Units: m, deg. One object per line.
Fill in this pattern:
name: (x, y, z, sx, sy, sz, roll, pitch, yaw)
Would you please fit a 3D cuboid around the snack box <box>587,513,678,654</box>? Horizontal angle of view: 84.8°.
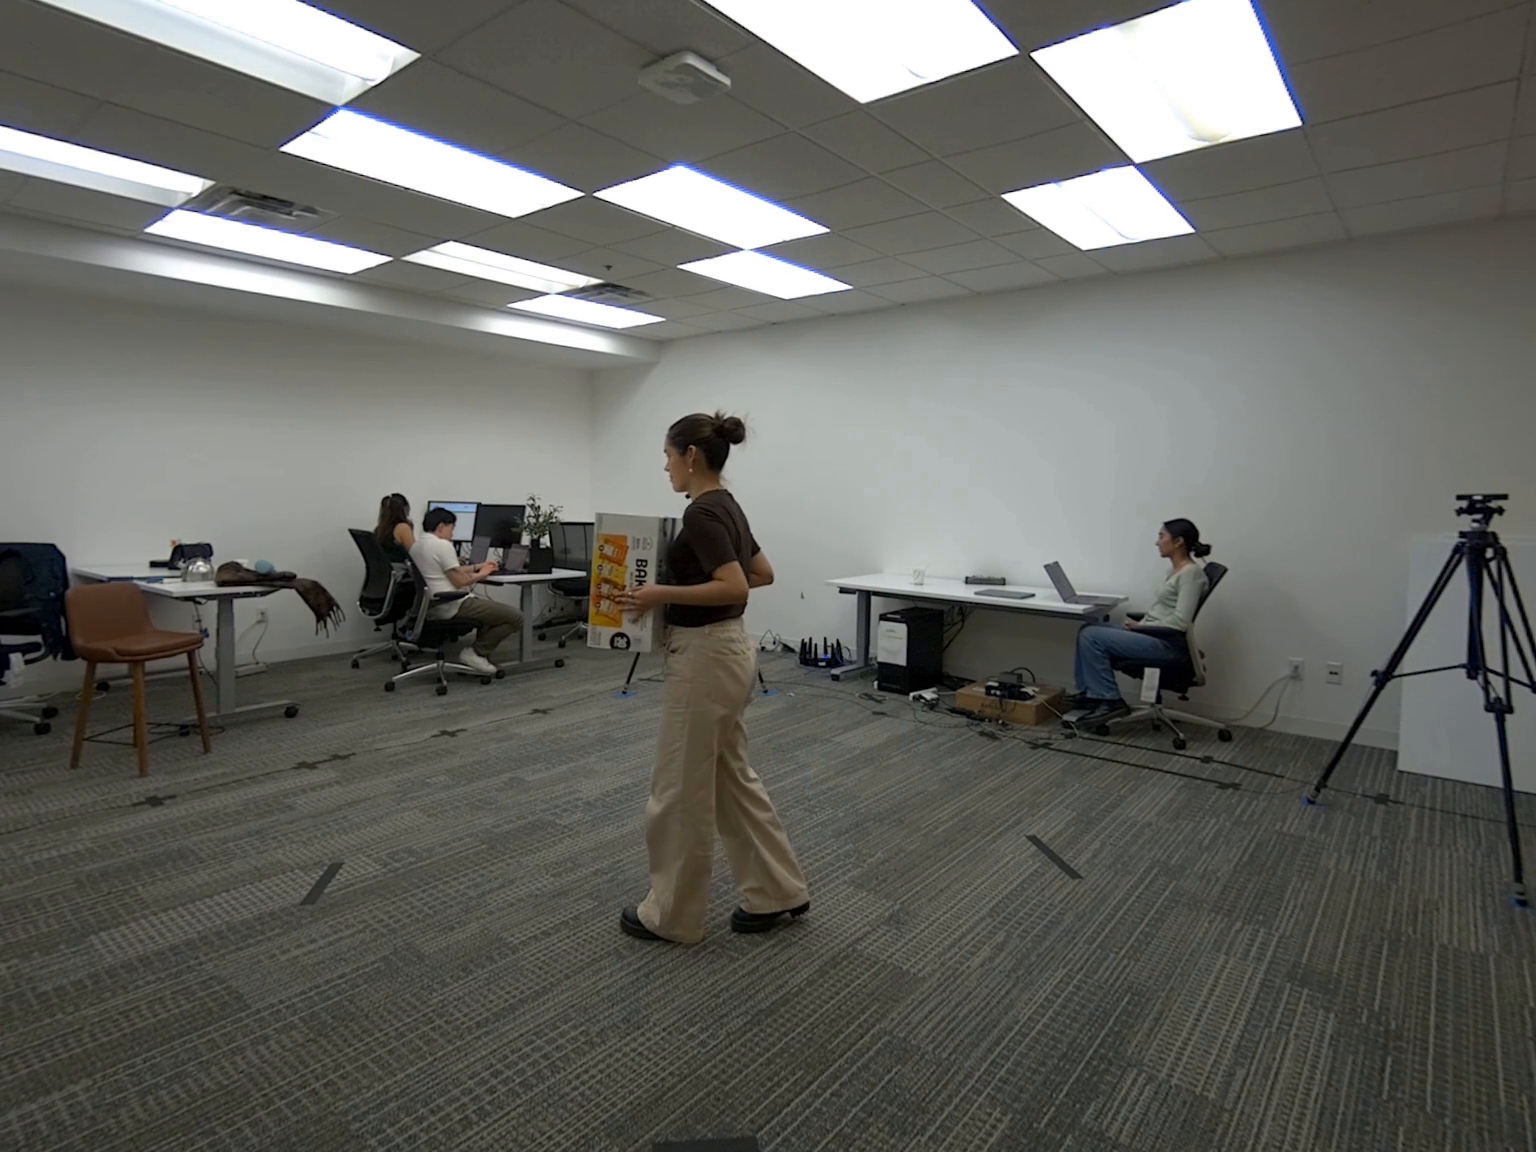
snack box: (-0.417, 0.007, 2.691, 0.208, 0.404, 0.337, 4, 2, 9)
